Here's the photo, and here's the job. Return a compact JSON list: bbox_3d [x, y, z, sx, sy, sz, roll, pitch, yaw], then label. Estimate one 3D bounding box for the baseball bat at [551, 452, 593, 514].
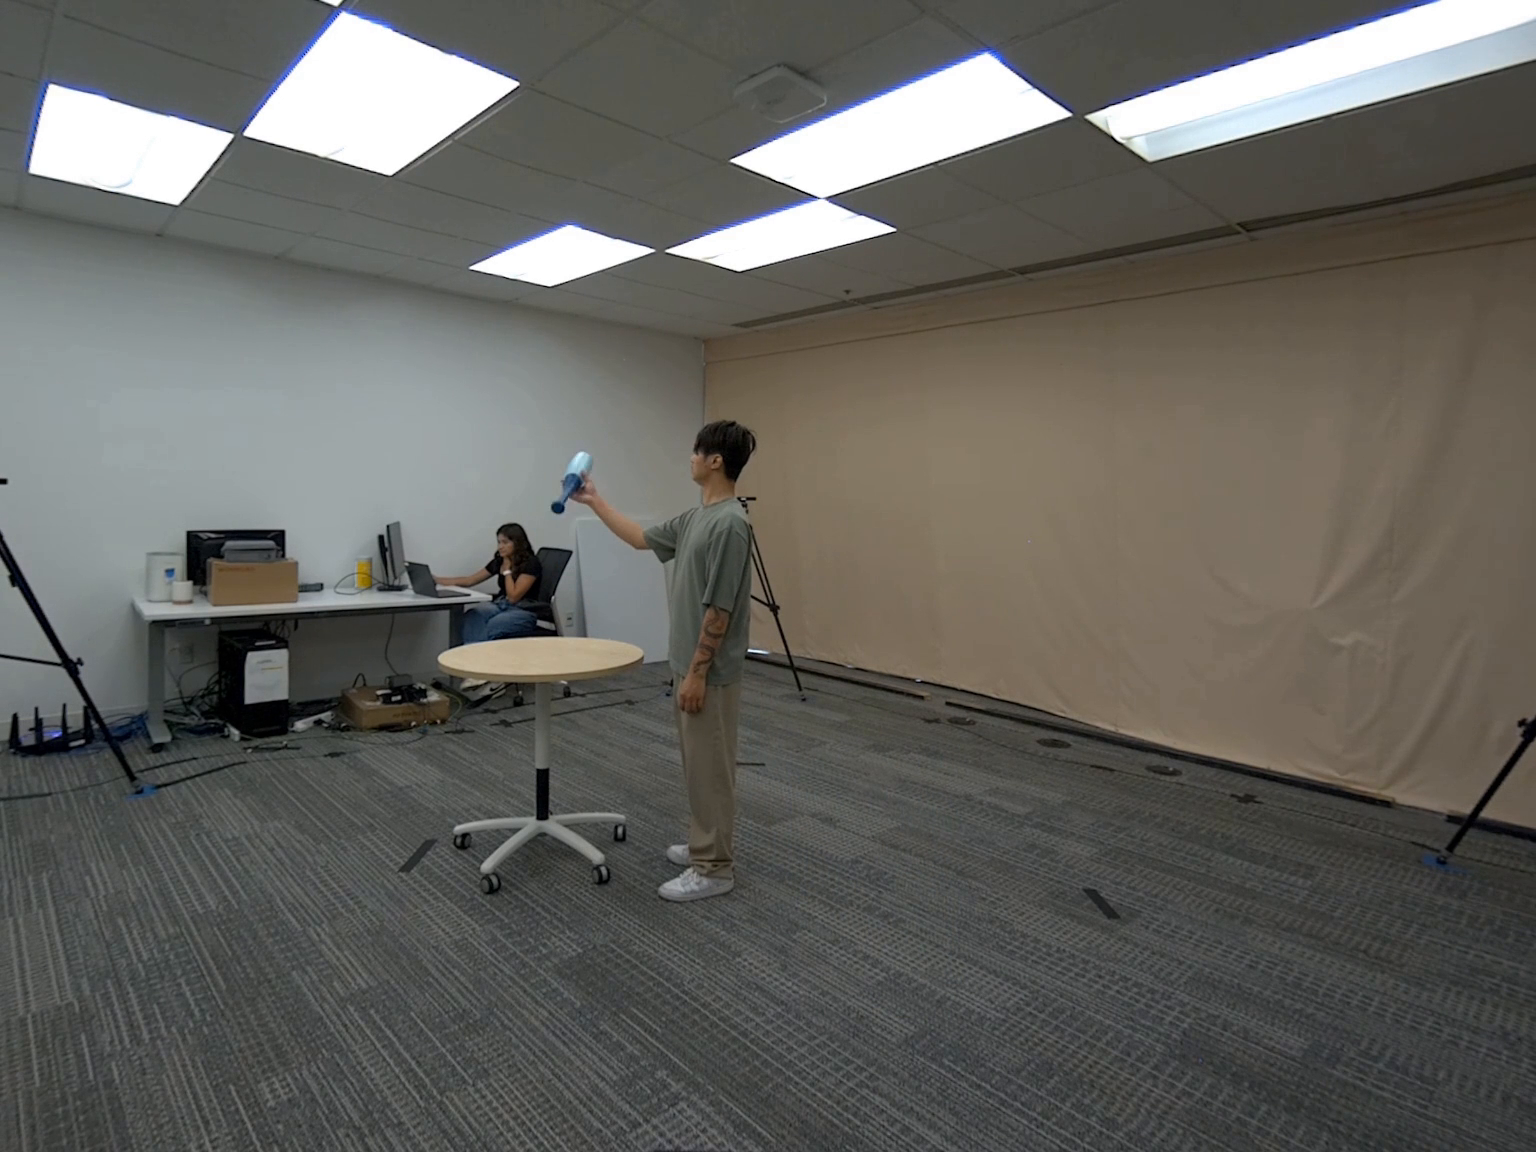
[{"bbox_3d":[-0.770,-0.357,3.258,0.089,0.087,0.552,1,26,-2],"label":"baseball bat"}]
